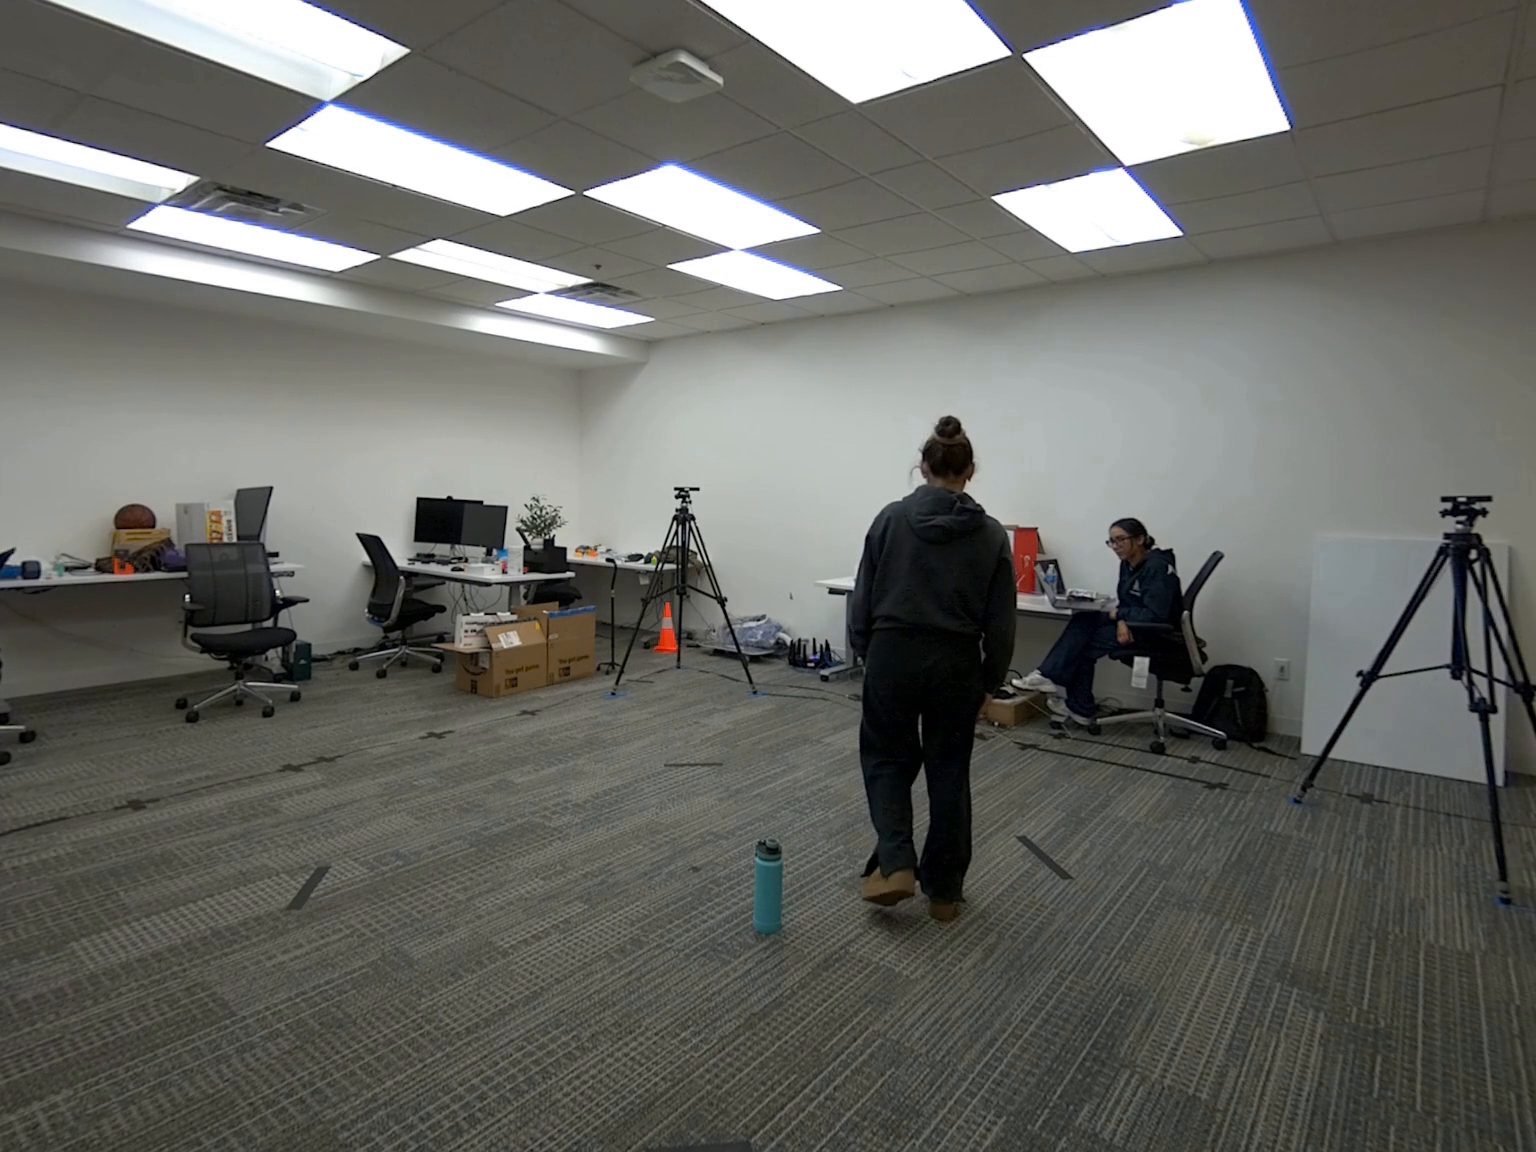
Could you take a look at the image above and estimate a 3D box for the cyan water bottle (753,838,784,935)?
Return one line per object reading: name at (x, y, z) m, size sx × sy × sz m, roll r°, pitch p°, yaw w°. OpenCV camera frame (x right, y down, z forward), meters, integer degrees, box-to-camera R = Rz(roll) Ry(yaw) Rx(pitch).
cyan water bottle at (0.007, 0.970, 2.700) m, size 0.092 × 0.283 × 0.092 m, roll -1°, pitch 1°, yaw -2°
